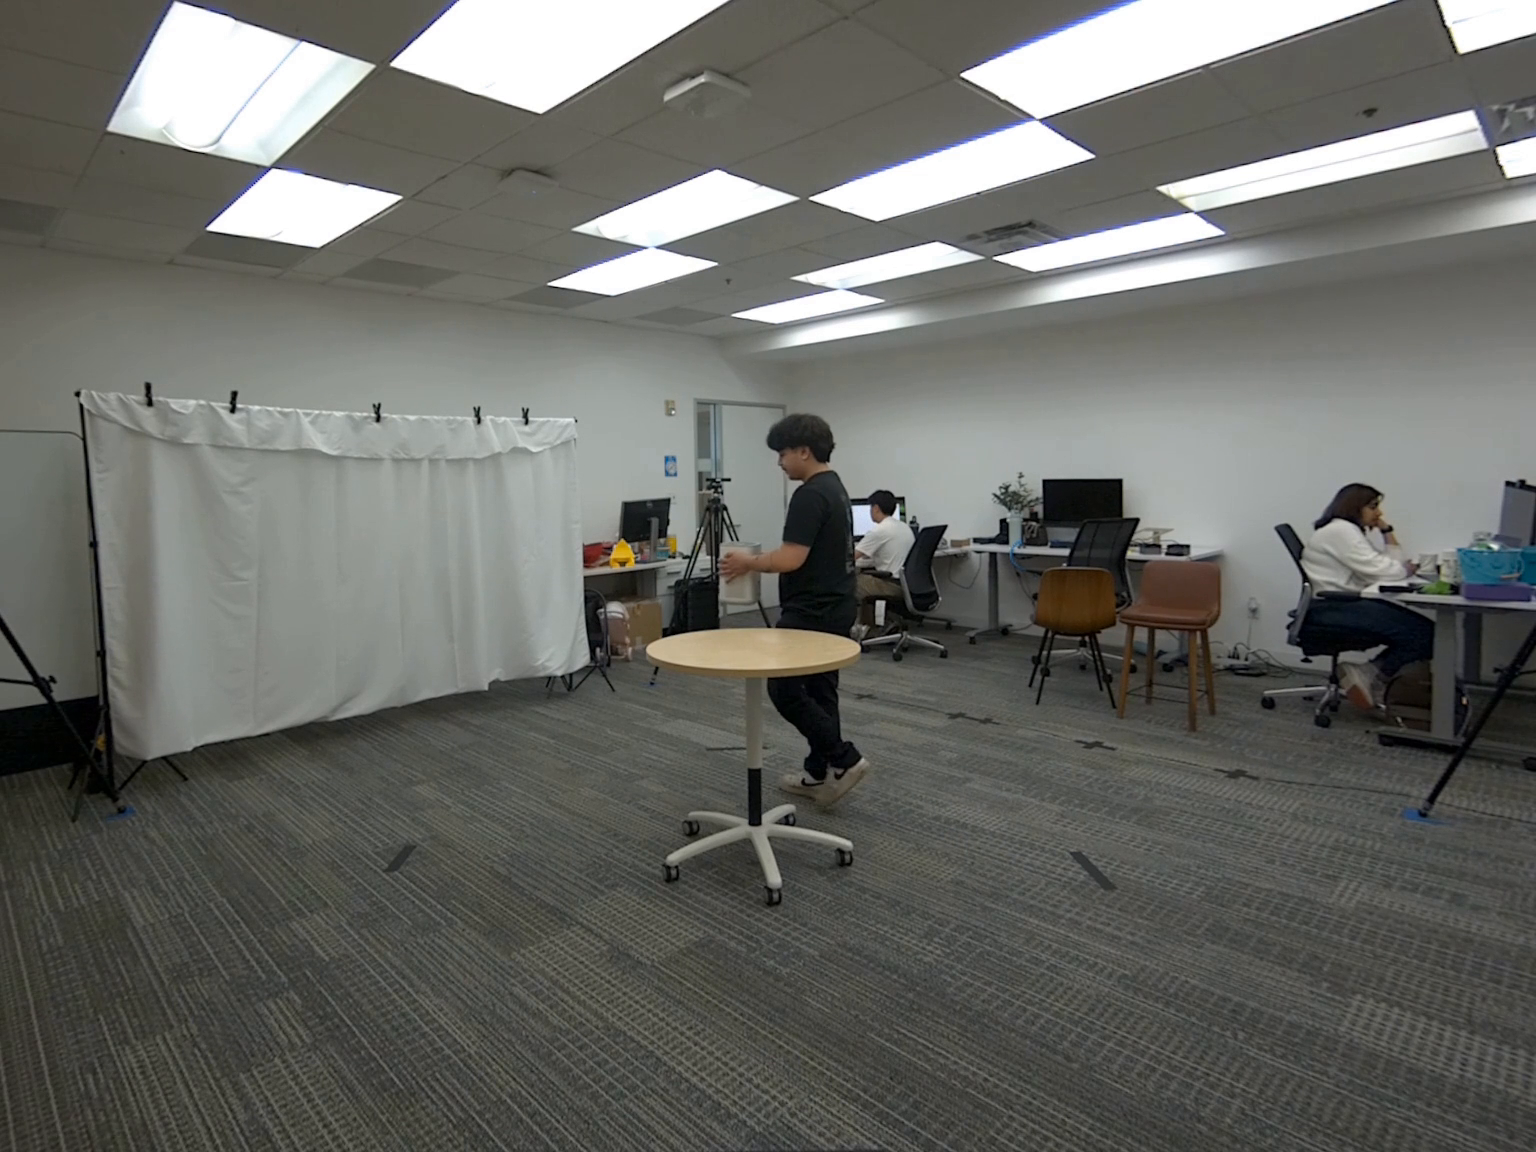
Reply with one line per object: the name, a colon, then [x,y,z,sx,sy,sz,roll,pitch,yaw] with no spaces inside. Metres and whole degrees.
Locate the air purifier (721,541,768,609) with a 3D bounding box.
air purifier: [-0.104,-0.010,3.774,0.173,0.264,0.170,1,7,11]
